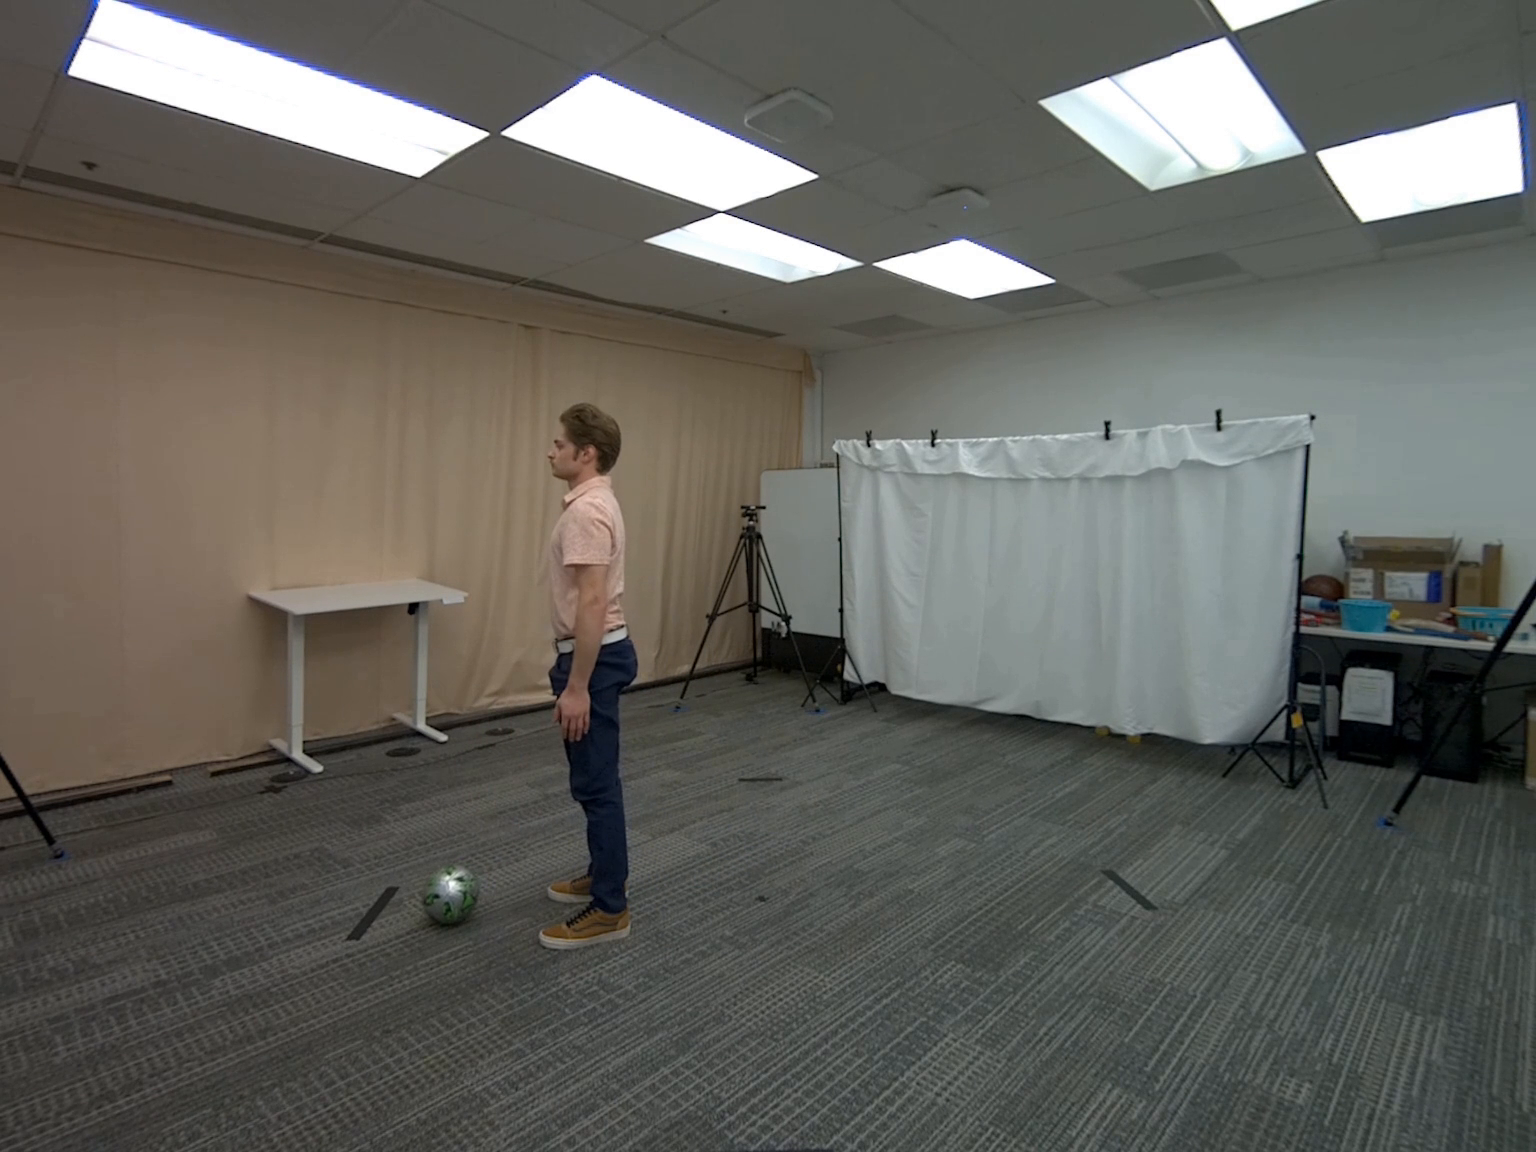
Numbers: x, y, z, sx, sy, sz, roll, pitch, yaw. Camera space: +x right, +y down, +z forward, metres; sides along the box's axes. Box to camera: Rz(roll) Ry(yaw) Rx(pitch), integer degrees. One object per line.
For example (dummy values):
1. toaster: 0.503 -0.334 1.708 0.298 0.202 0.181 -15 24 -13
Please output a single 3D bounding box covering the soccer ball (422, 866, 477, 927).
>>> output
1. soccer ball: -1.077 1.077 2.836 0.187 0.187 0.188 0 4 -2
